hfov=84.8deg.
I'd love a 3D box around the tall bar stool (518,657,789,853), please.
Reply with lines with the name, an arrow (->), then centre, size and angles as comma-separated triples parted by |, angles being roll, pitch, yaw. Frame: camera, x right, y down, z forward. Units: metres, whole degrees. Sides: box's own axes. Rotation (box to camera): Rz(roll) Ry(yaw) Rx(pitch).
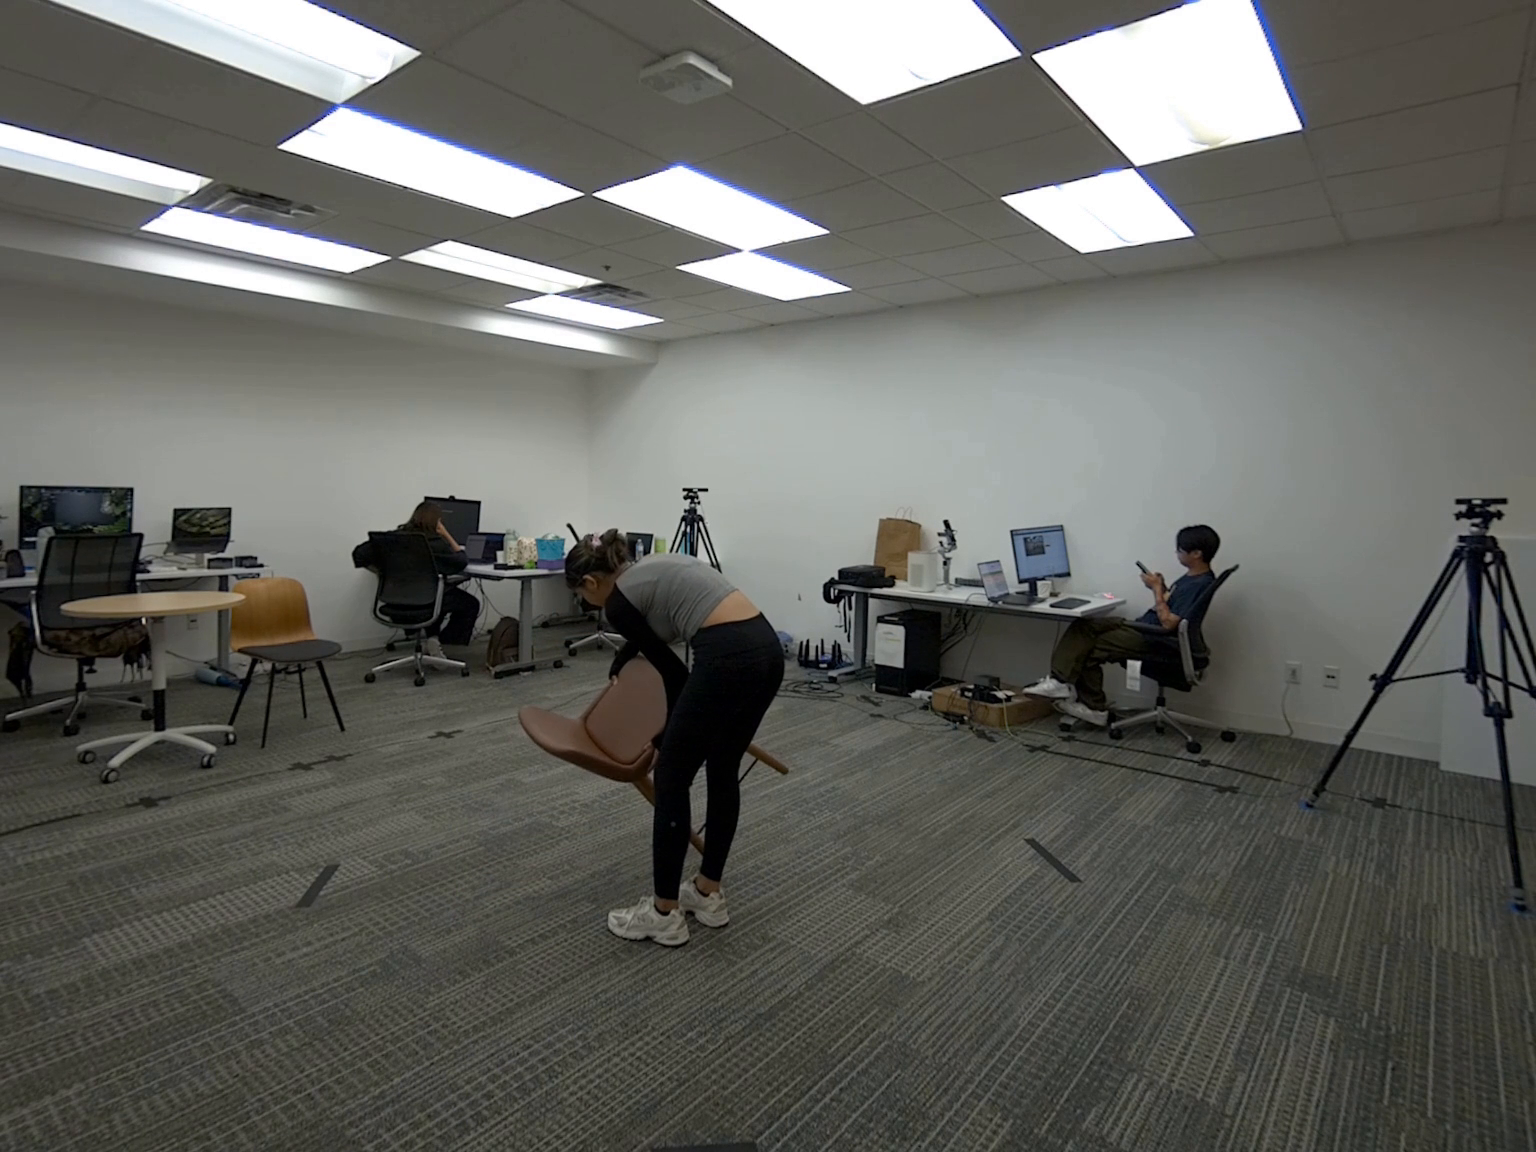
tall bar stool -> -0.420, 0.605, 3.098 | 0.855, 0.468, 0.474 | 46, -14, -35
